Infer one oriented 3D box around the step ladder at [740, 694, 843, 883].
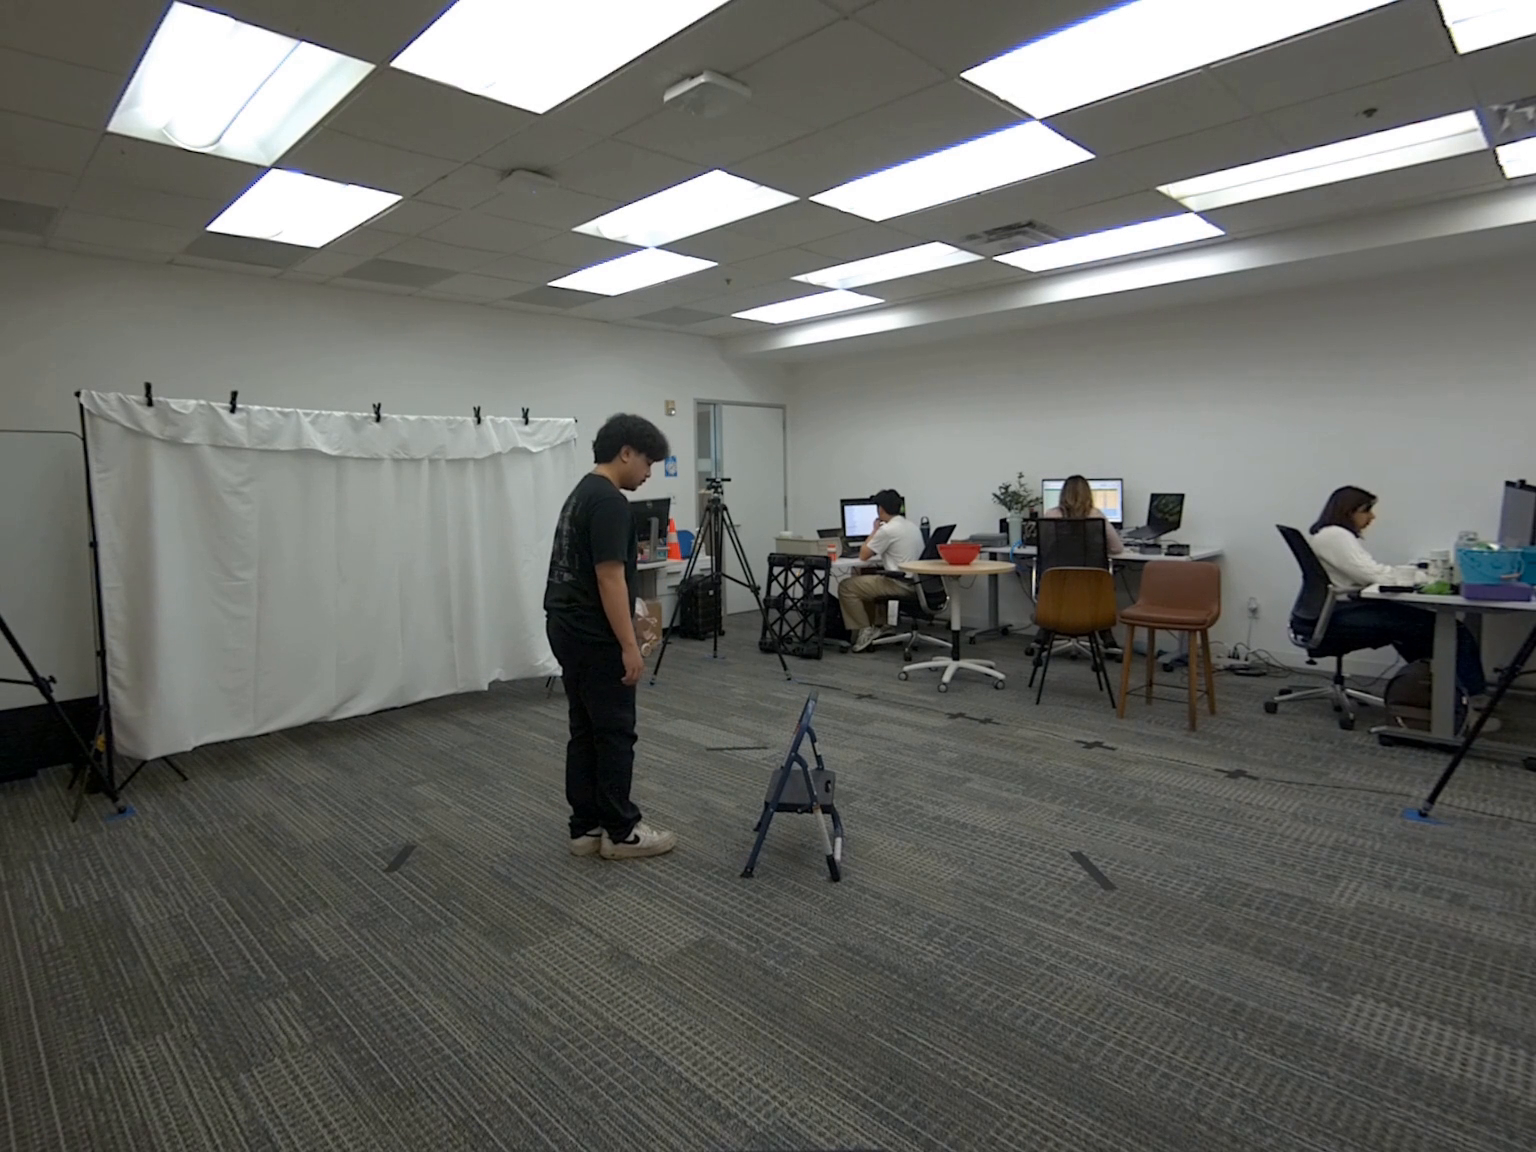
[{"bbox_3d":[0.096,0.733,3.149,0.352,0.604,0.429,-1,4,7],"label":"step ladder"}]
